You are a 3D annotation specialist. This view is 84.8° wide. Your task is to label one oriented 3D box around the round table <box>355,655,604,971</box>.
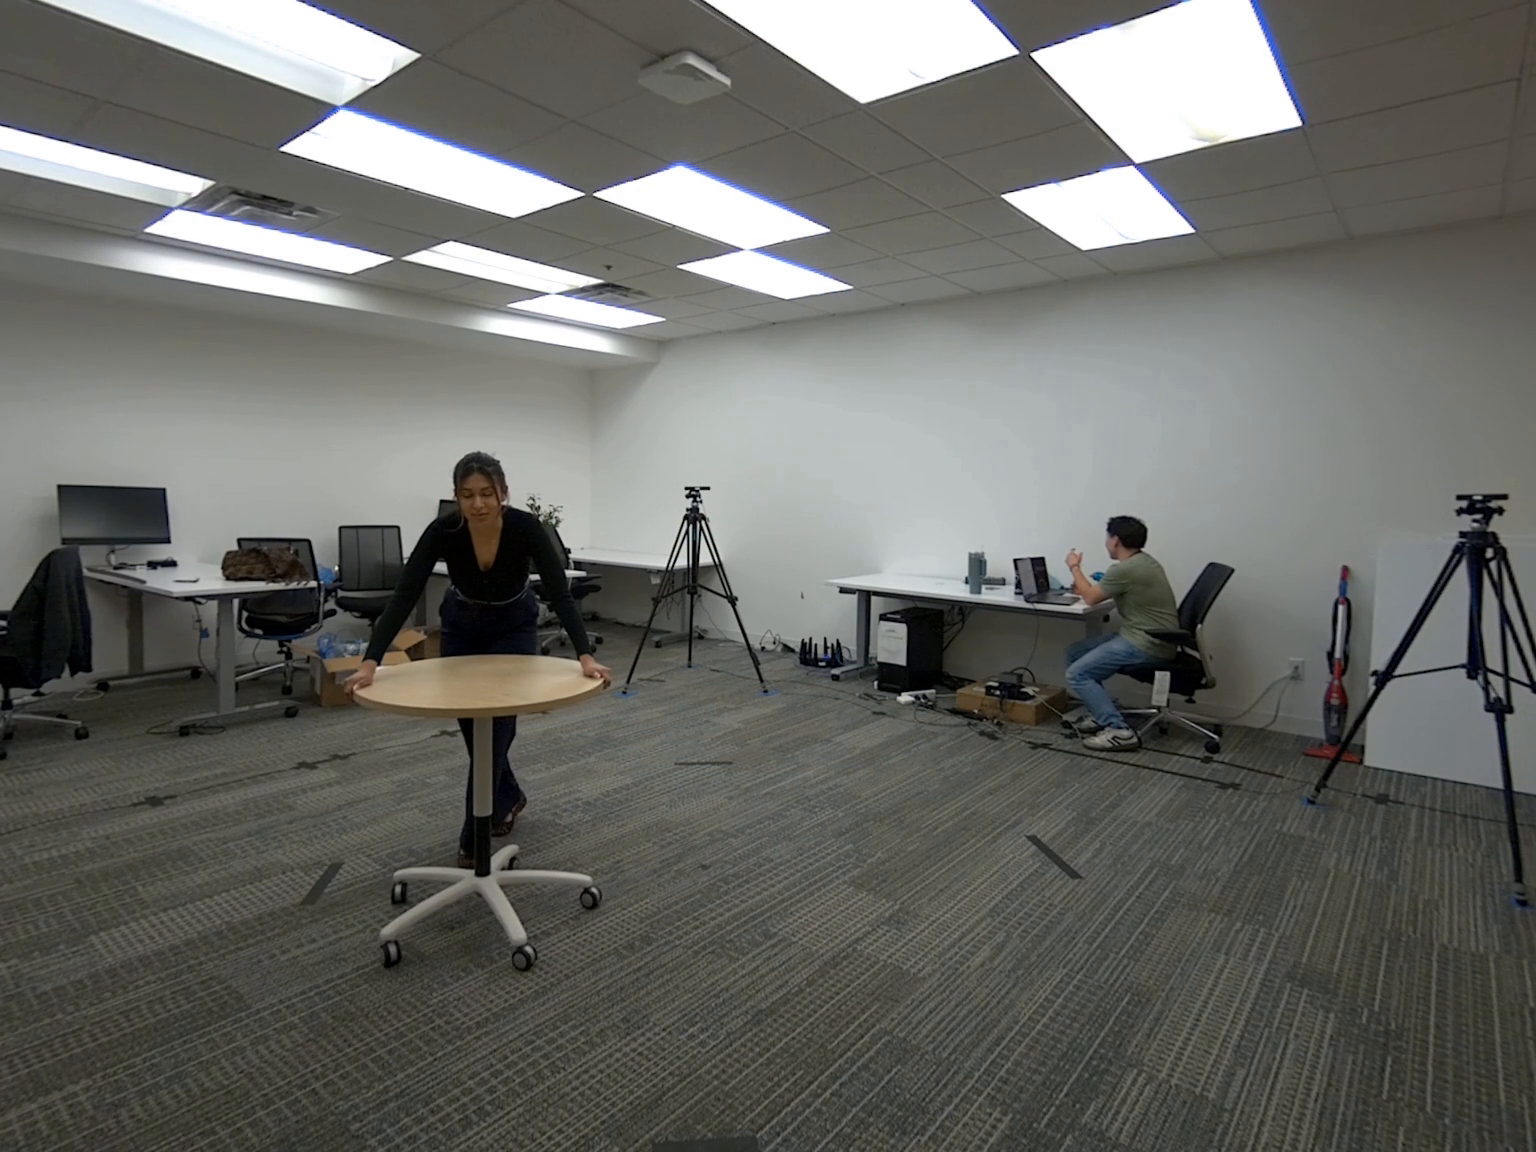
[{"bbox_3d":[-0.913,0.713,2.711,0.763,0.791,0.768,0,4,-2],"label":"round table"}]
